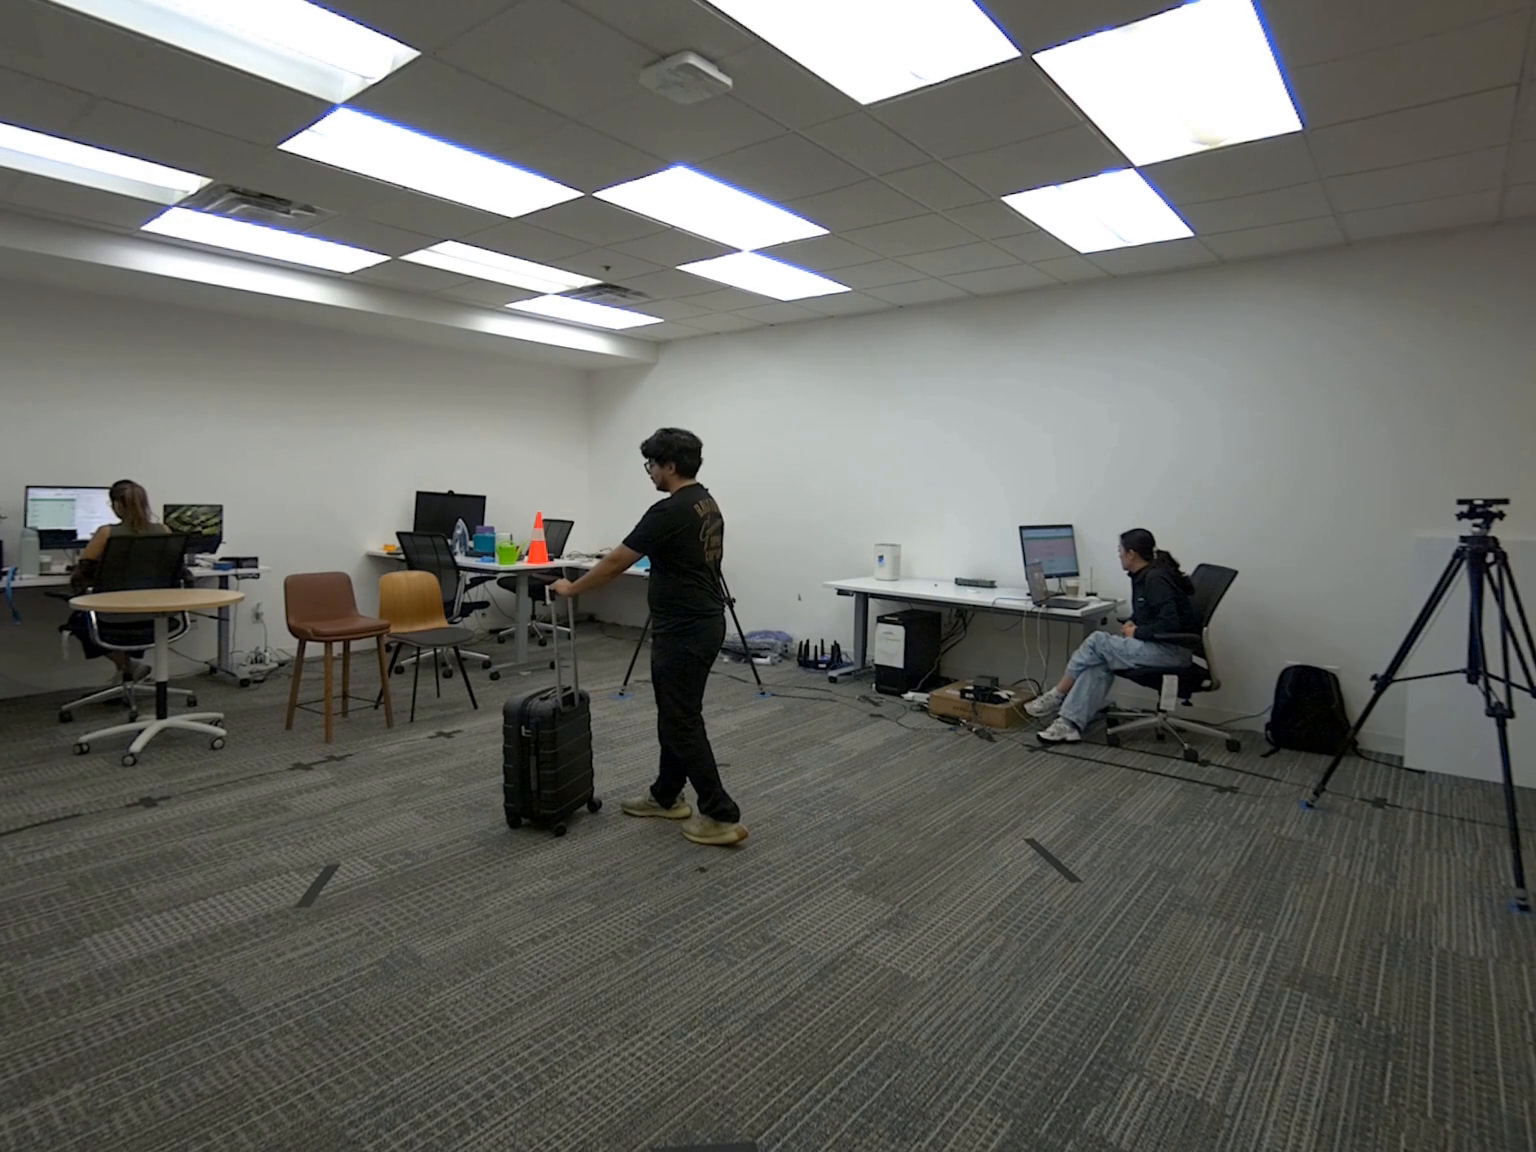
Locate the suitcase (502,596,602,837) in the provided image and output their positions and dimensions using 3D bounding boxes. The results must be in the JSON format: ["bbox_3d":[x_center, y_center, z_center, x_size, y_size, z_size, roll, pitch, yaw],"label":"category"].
[{"bbox_3d":[-0.939,0.542,3.541,0.262,0.977,0.377,-3,2,19],"label":"suitcase"}]
